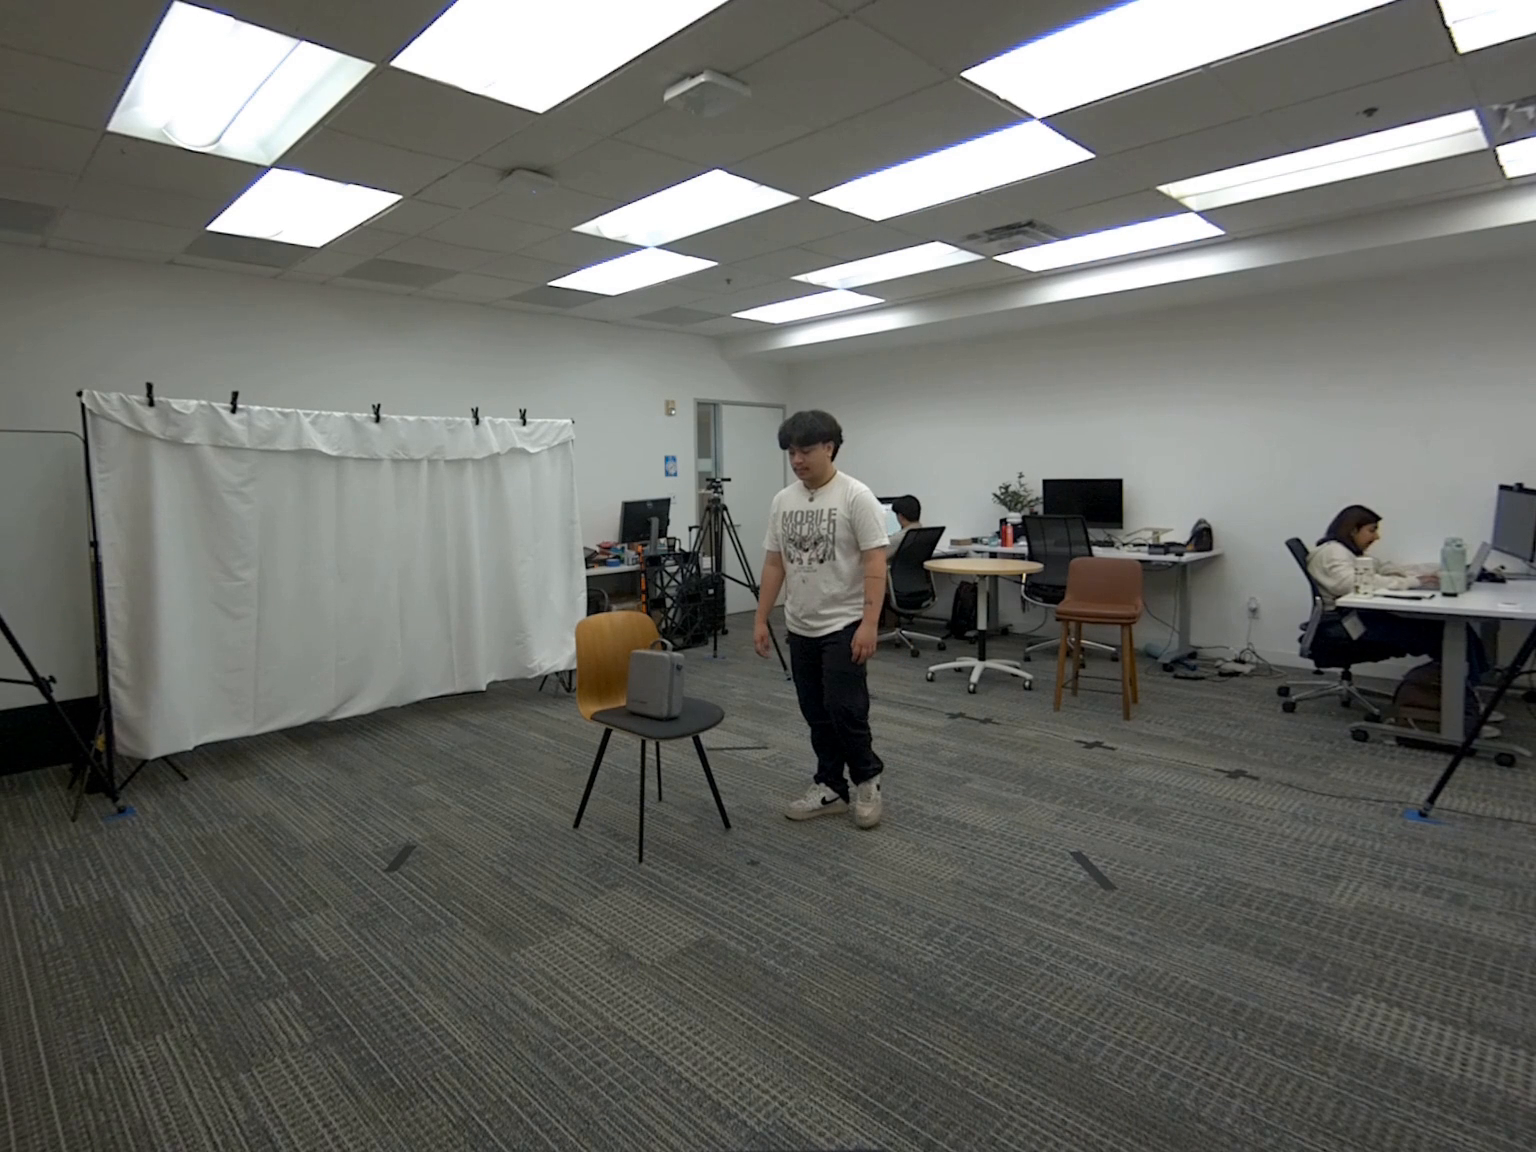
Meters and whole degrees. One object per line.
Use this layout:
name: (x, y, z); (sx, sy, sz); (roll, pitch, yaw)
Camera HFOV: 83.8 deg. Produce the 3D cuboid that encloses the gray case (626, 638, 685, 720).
gray case: (-0.439, 0.414, 3.351); (0.101, 0.262, 0.264); (8, -6, -42)
